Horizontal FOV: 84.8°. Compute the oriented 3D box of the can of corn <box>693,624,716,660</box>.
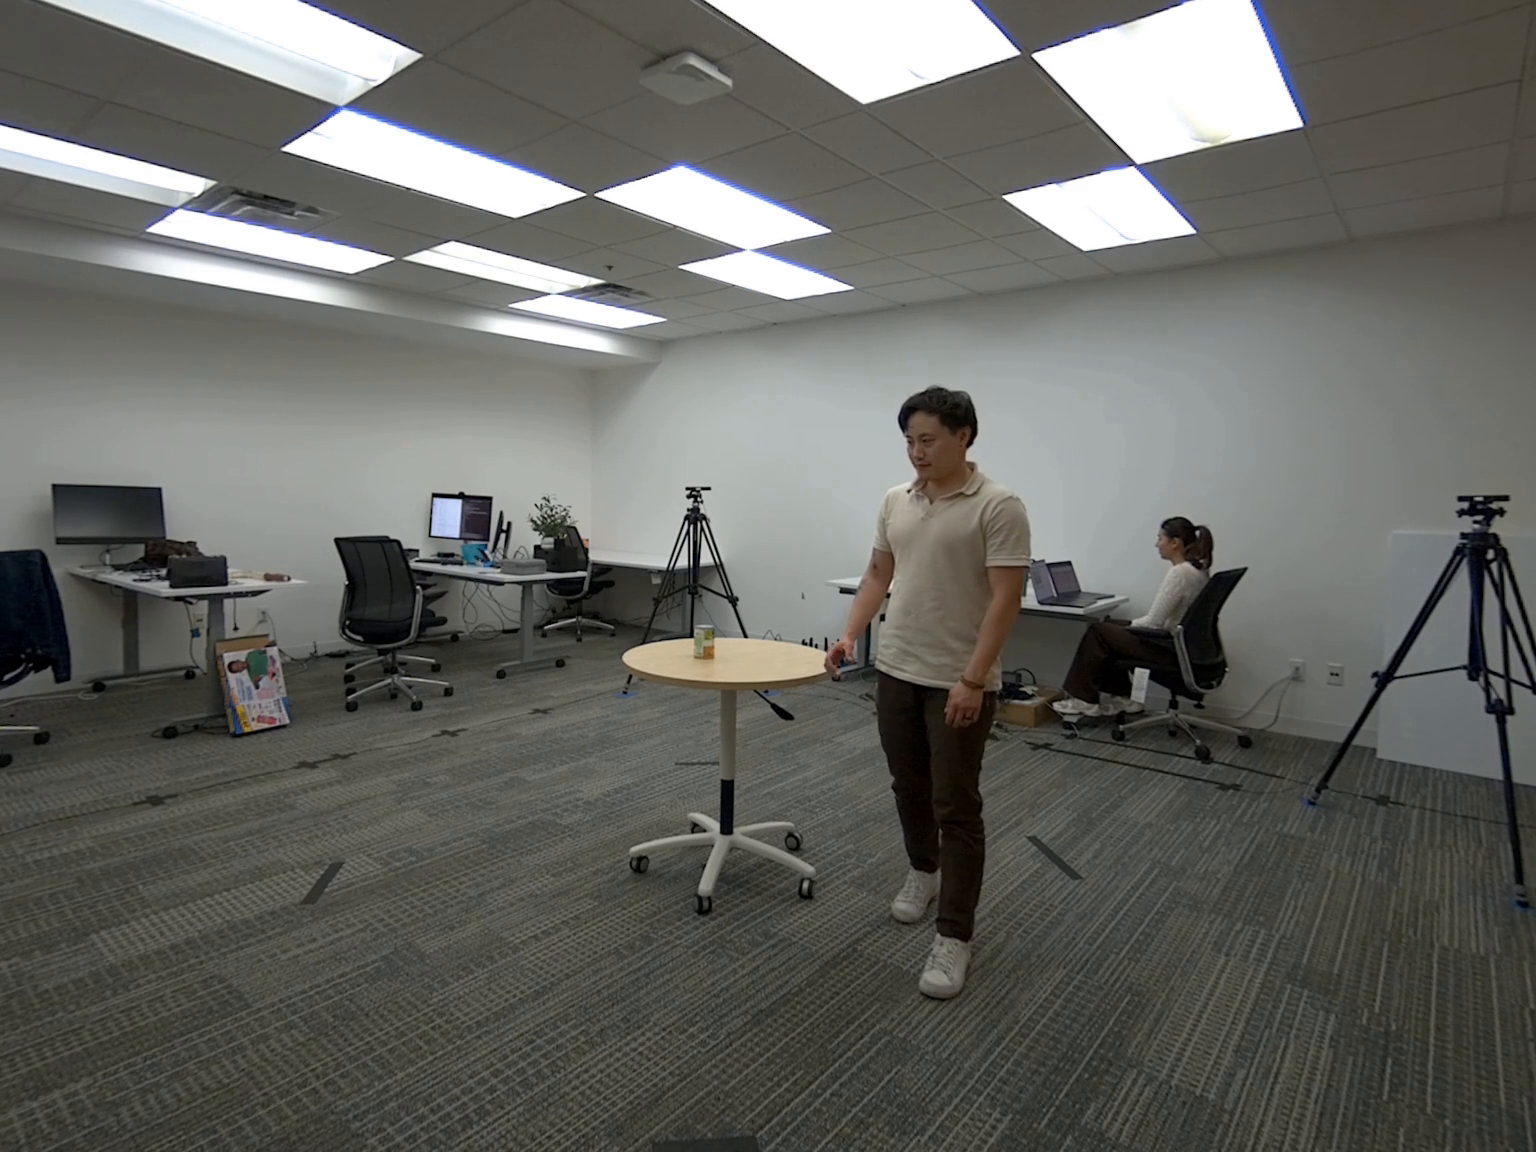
[{"bbox_3d":[-0.235,0.232,3.040,0.074,0.110,0.074,-1,5,-2],"label":"can of corn"}]
